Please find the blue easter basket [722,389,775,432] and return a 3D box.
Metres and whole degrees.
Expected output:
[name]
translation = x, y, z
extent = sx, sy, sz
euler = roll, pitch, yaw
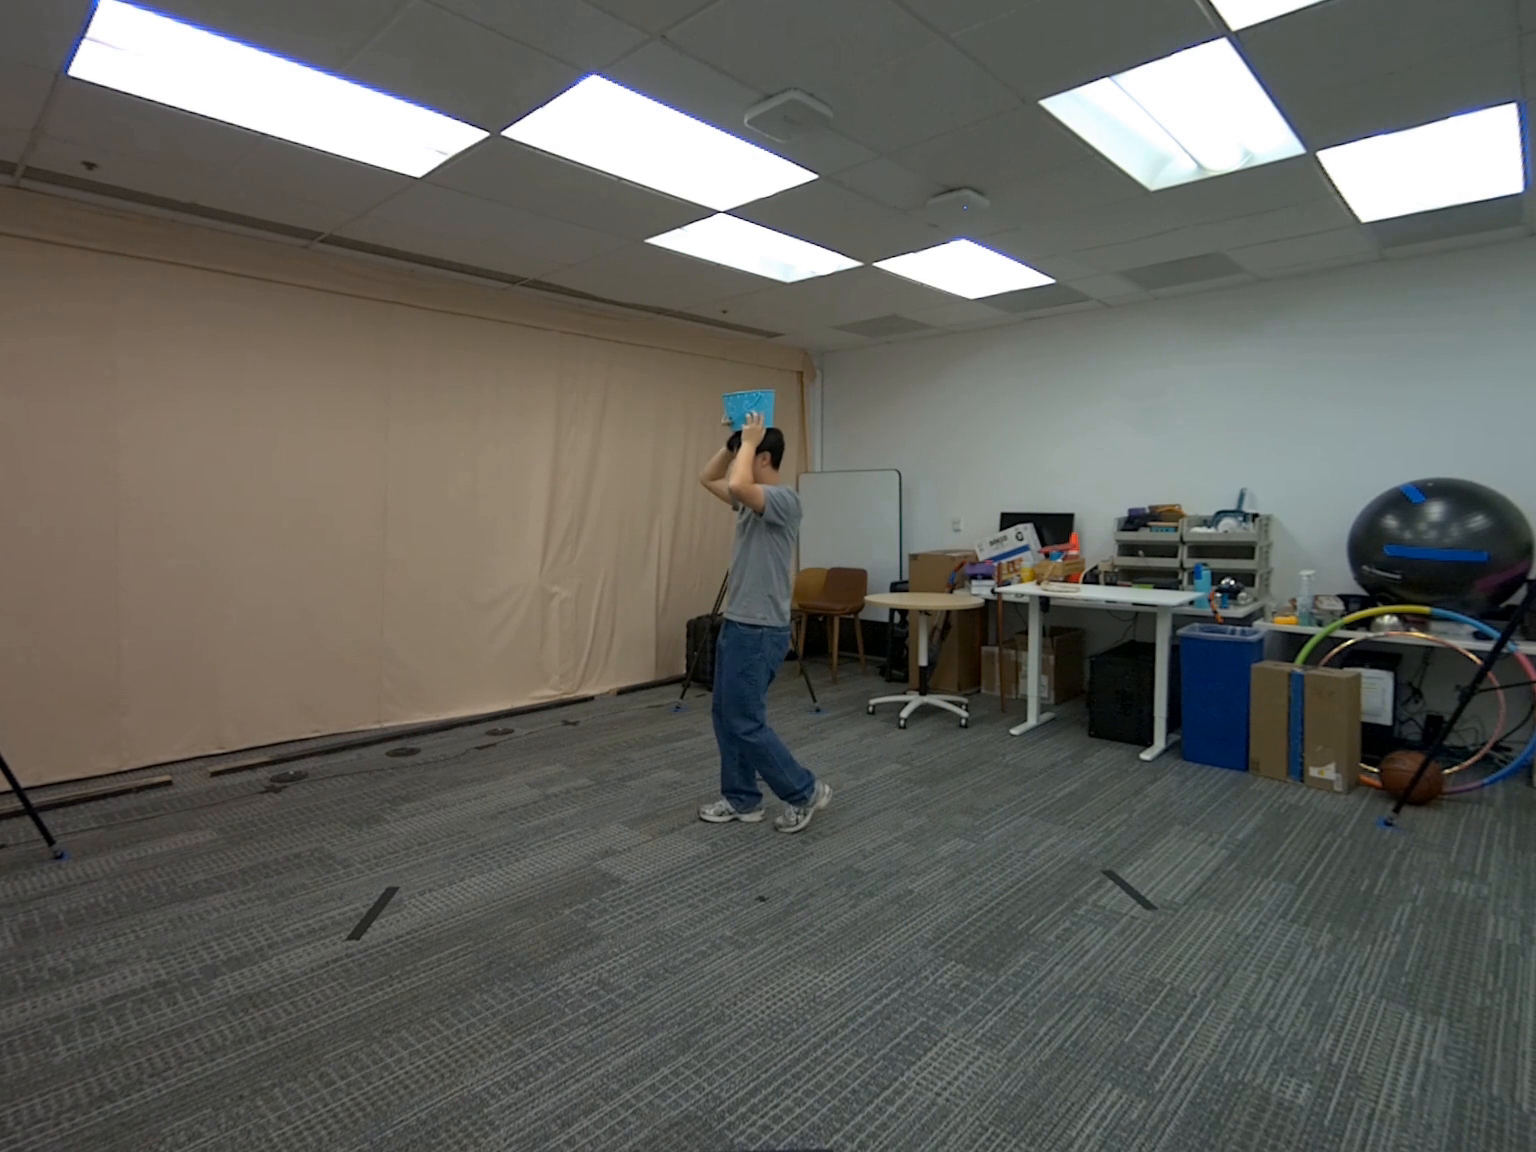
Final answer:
[blue easter basket]
translation = -0.073, -0.692, 3.551
extent = 0.243, 0.155, 0.245
euler = -6, 8, -1
